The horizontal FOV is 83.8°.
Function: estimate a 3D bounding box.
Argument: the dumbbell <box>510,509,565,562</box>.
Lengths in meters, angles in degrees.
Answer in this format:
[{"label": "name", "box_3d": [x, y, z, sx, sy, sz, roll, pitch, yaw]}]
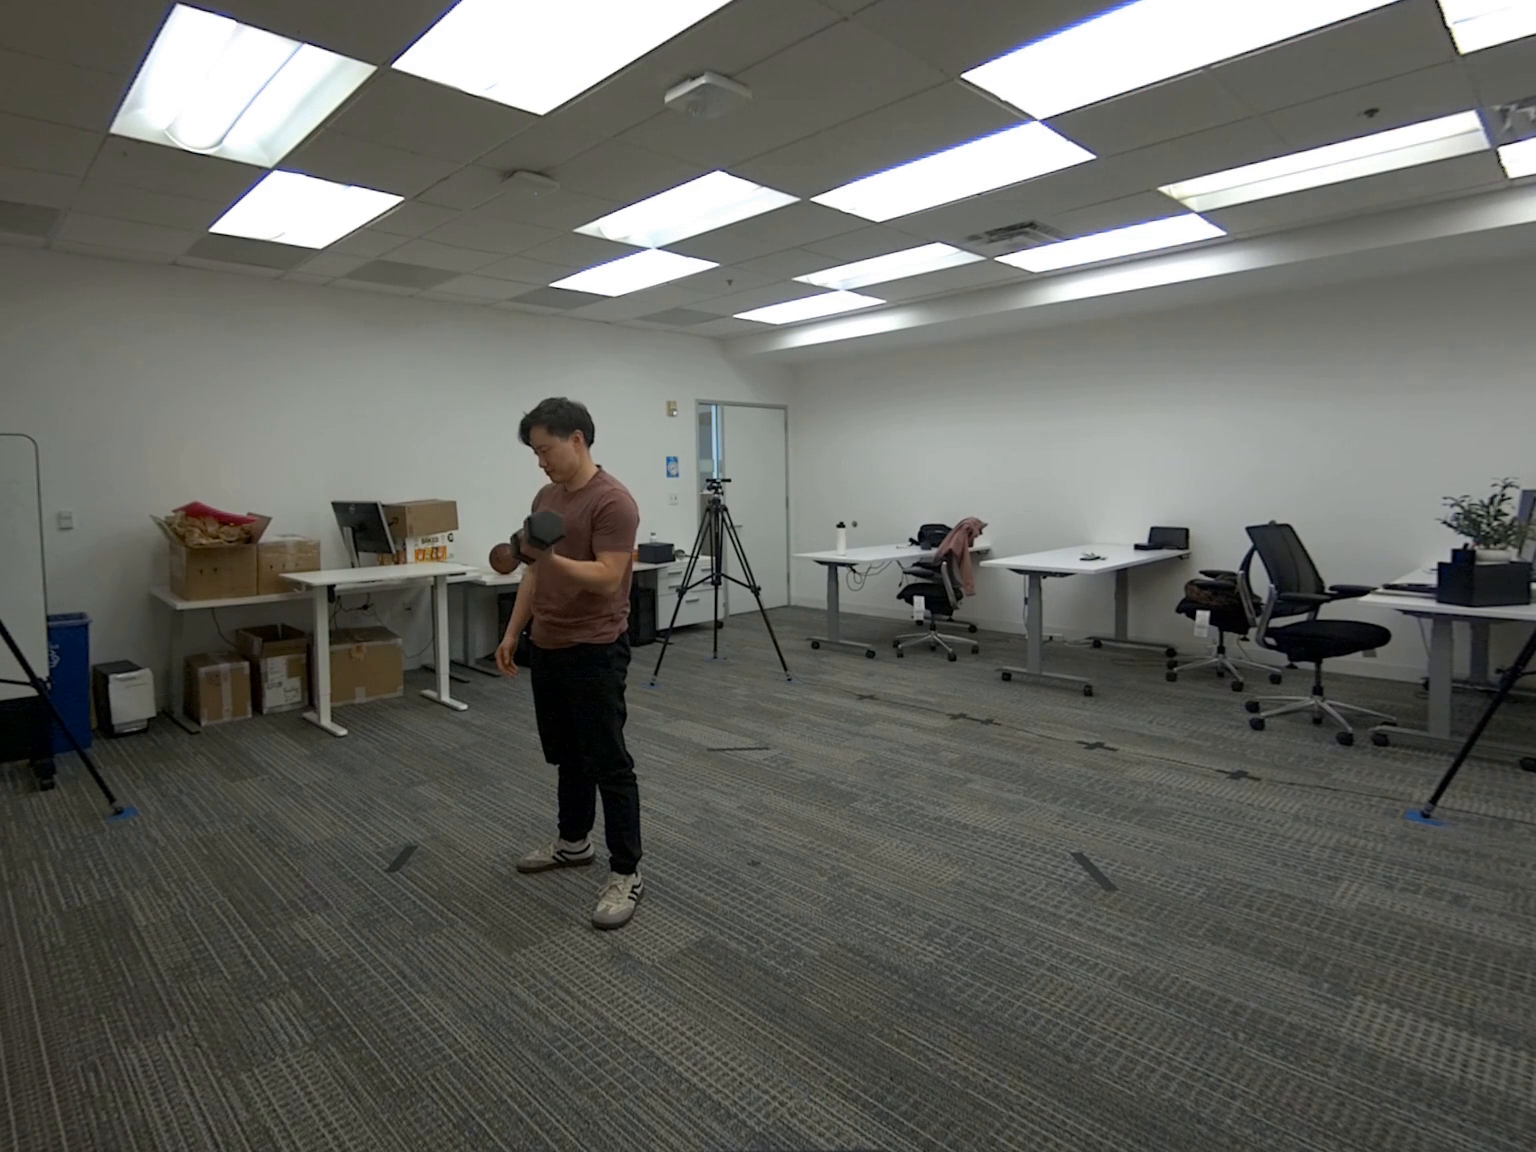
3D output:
[{"label": "dumbbell", "box_3d": [-0.697, -0.105, 2.559, 0.120, 0.110, 0.297, 27, -23, -20]}]
